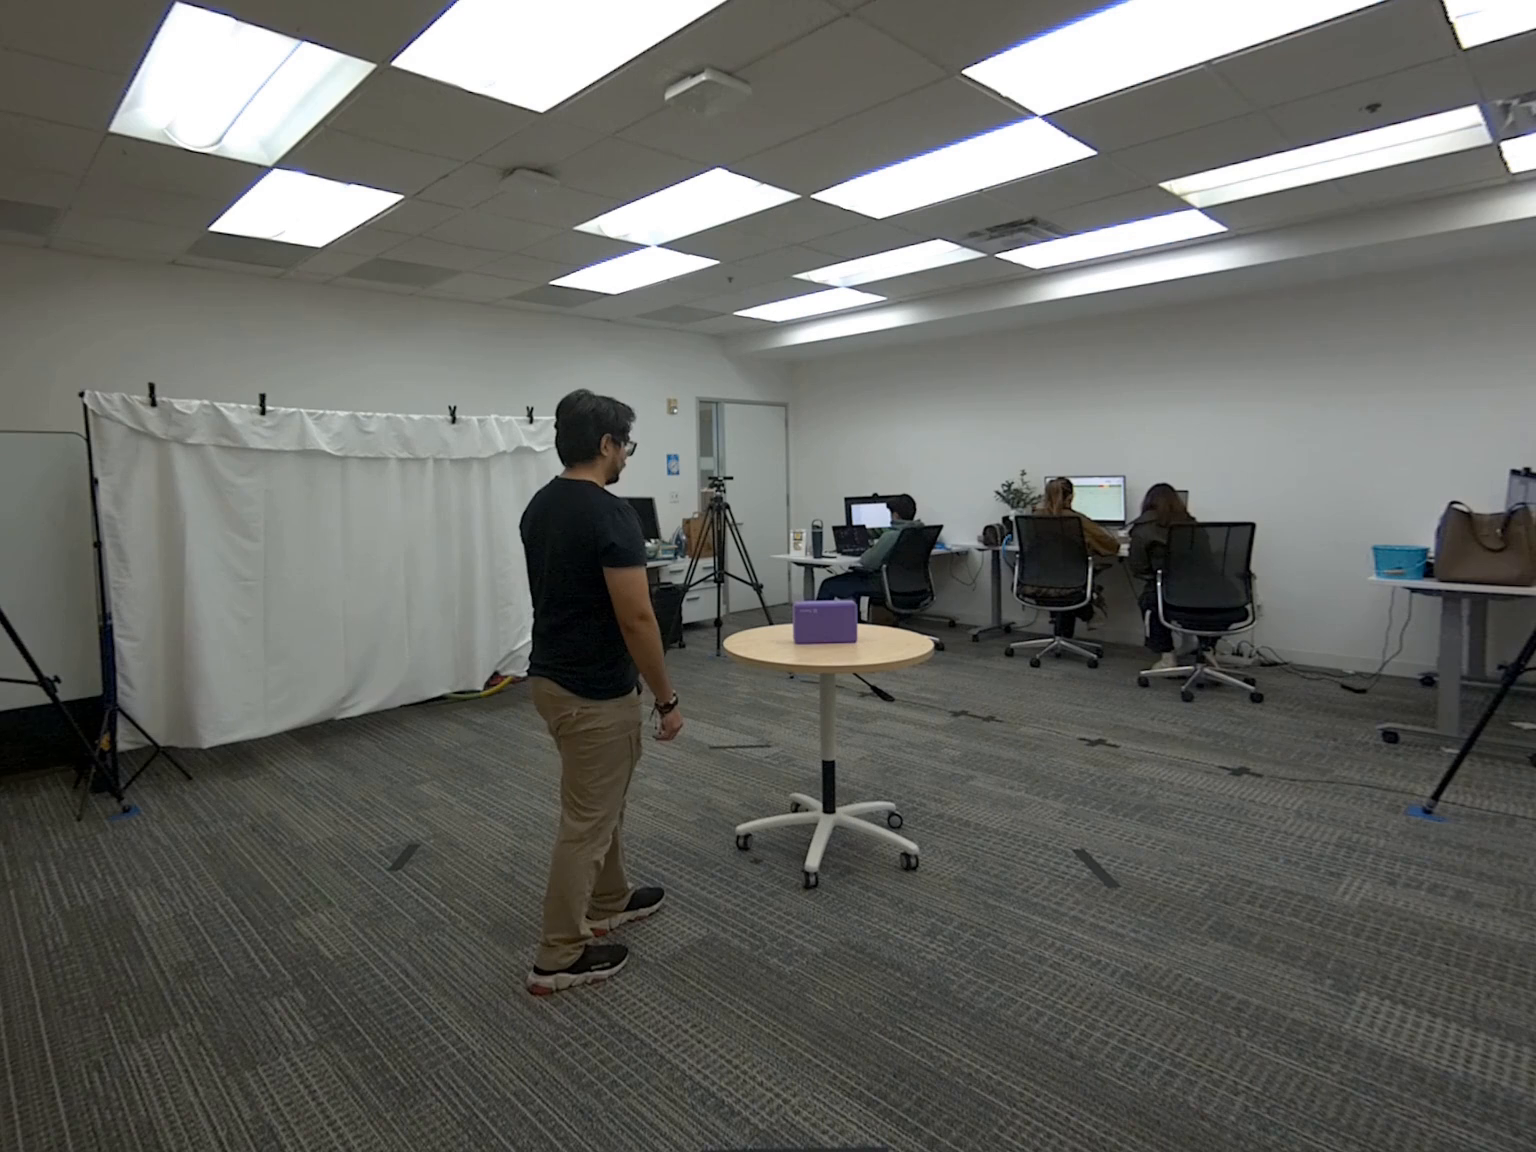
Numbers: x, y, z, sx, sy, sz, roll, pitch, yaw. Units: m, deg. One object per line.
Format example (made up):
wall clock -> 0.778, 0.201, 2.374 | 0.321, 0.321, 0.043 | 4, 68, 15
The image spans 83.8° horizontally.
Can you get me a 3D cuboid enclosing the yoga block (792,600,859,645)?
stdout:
yoga block -> 0.217, 0.168, 3.141 | 0.229, 0.148, 0.076 | -1, 3, 0
